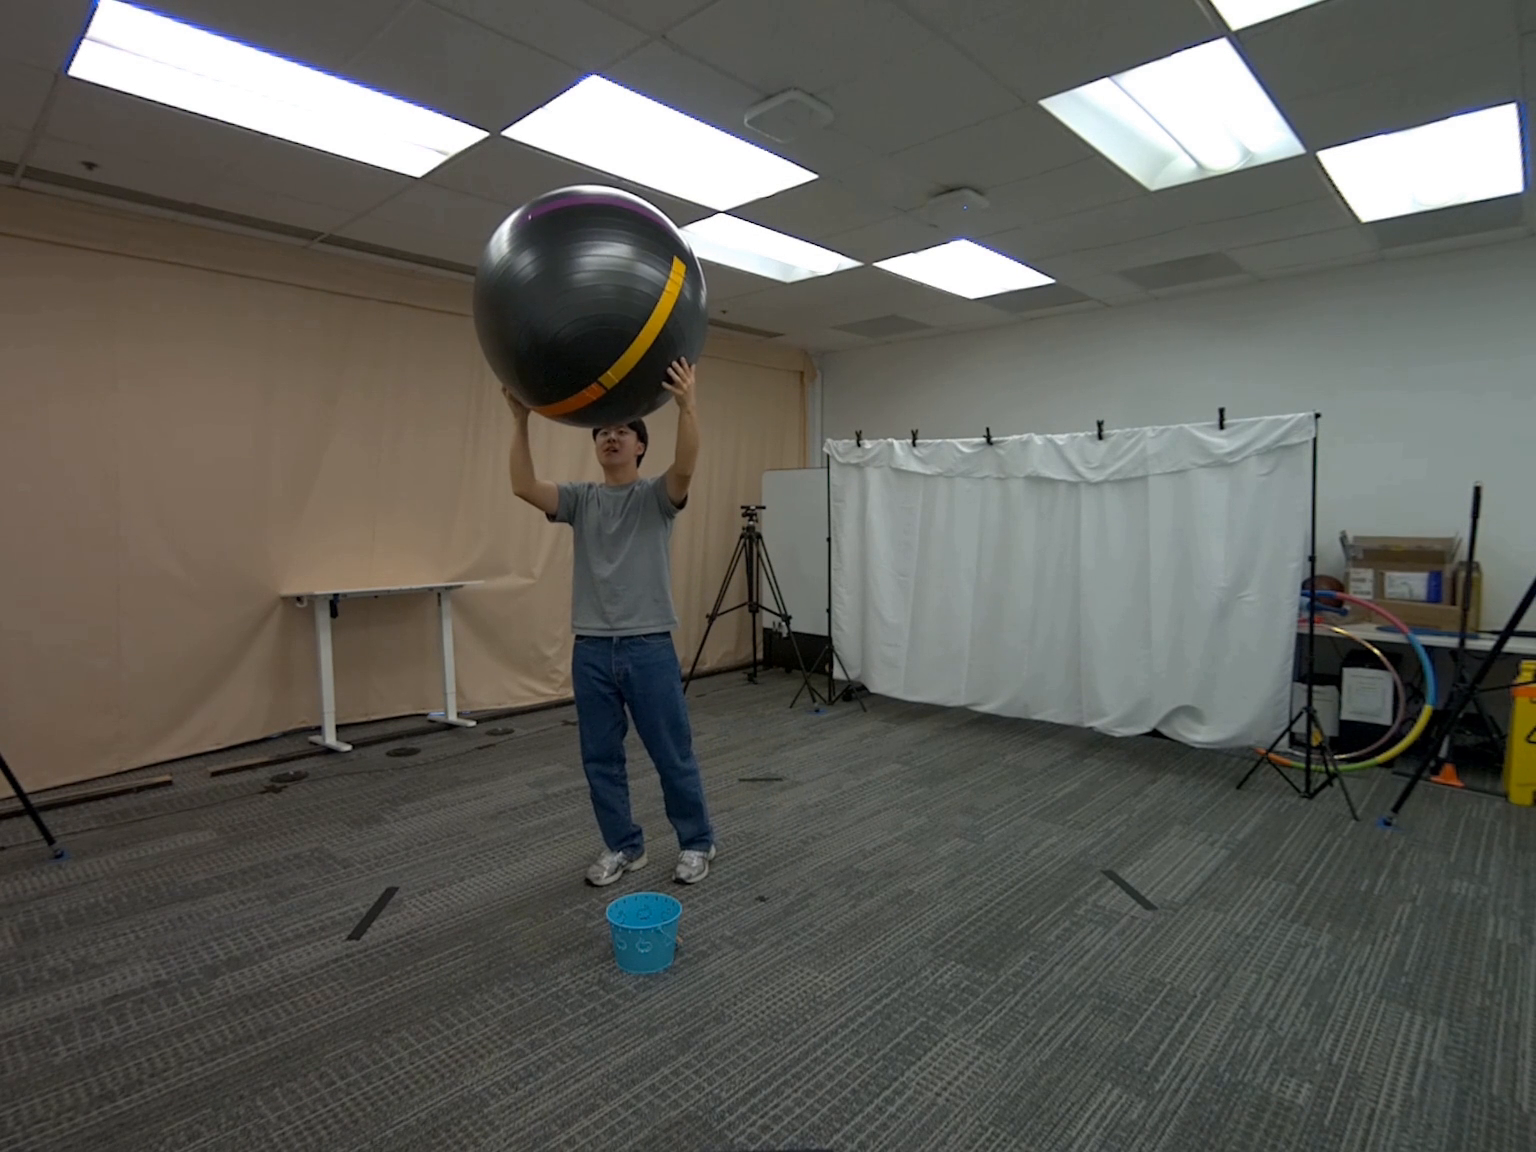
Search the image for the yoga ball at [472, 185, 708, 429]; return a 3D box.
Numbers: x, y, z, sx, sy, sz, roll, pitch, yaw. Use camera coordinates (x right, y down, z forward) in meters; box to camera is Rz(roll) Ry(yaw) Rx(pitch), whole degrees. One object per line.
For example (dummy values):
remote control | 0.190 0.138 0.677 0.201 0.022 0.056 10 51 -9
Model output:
yoga ball | -0.580 -0.867 2.759 0.757 0.756 0.761 0 4 -2
